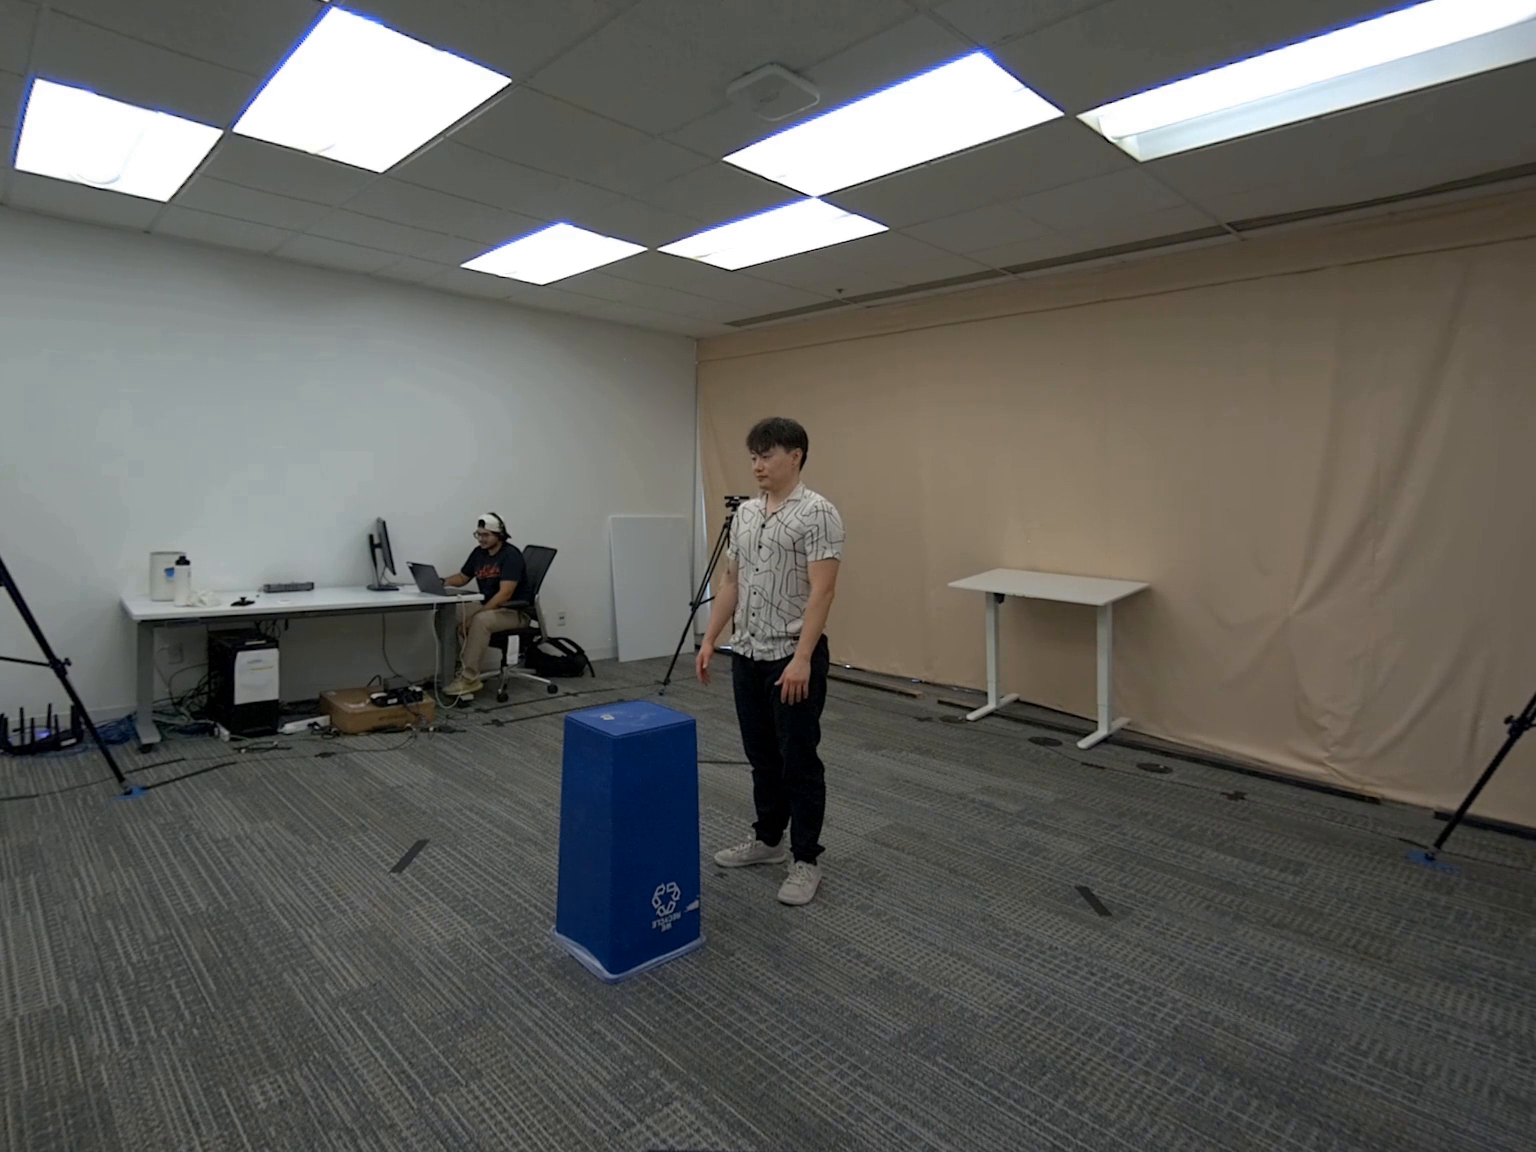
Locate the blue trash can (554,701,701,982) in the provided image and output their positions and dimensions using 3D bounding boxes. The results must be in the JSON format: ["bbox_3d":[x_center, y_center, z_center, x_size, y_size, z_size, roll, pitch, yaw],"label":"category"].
[{"bbox_3d":[-0.436,0.787,2.606,0.369,0.711,0.383,-2,5,-41],"label":"blue trash can"}]
